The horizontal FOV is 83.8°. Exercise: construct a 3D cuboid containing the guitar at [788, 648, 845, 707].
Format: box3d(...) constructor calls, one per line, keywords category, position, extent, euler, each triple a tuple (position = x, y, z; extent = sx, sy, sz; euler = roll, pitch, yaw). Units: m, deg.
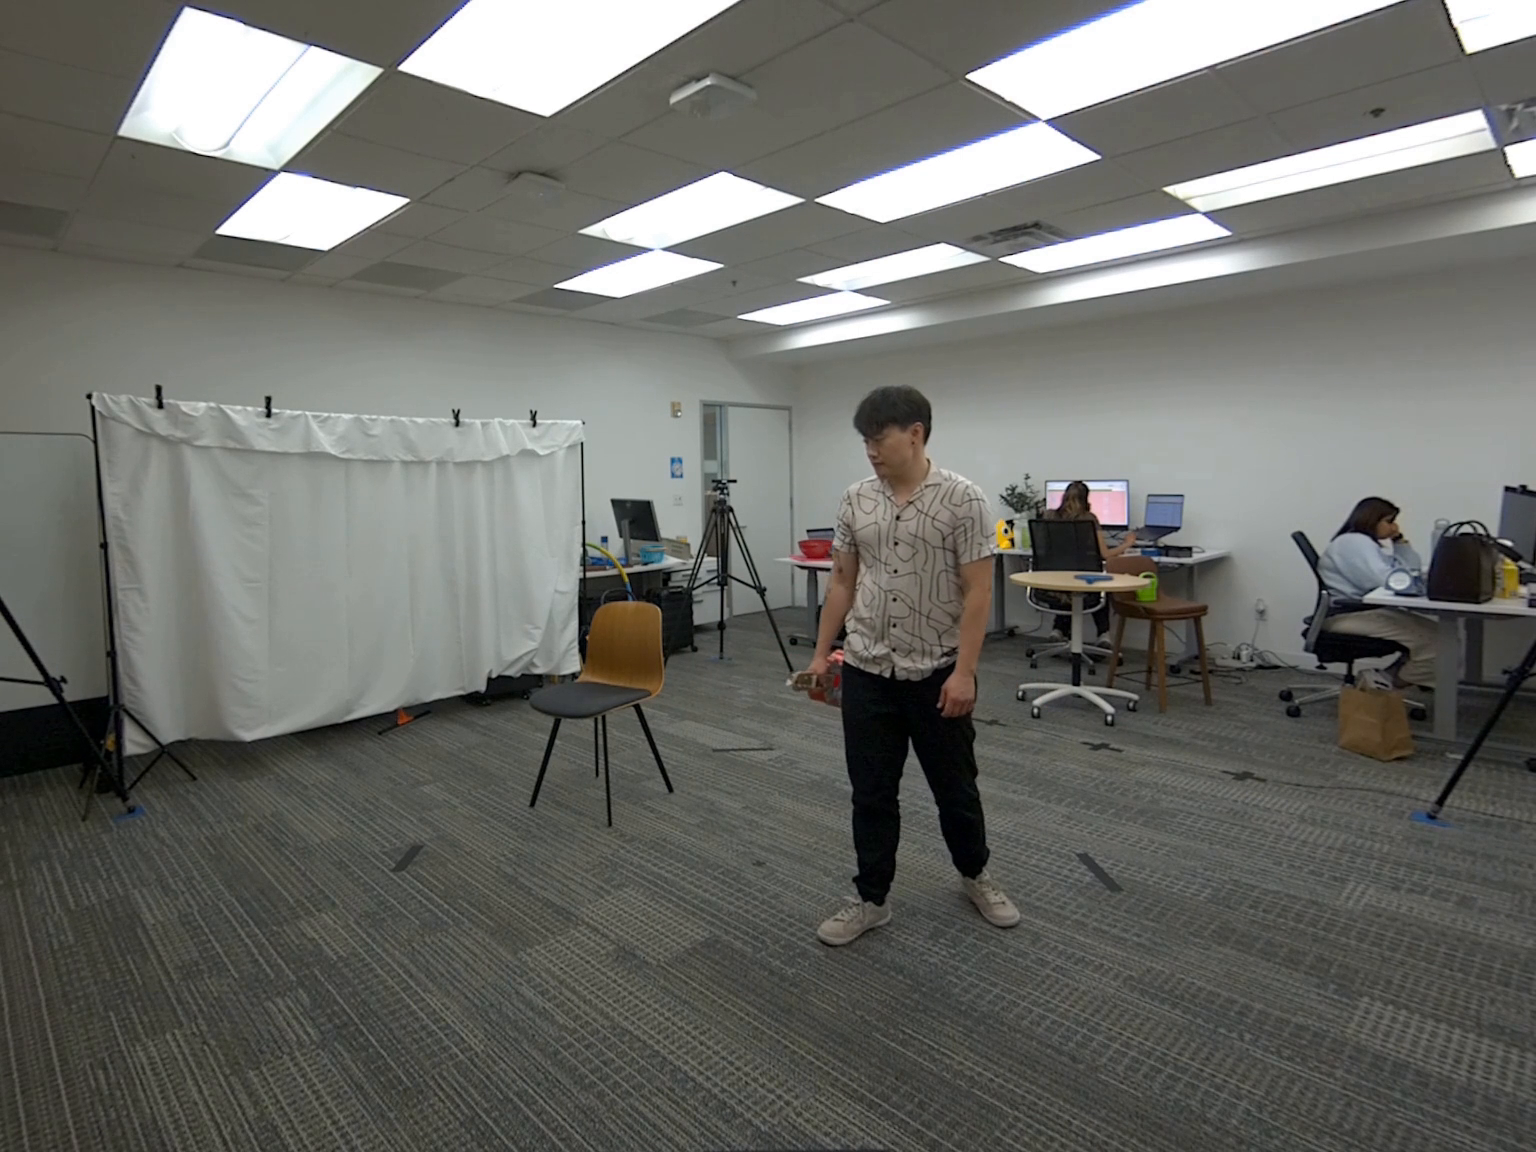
box3d(category="guitar", position=(0.180, 0.313, 2.781), extent=(0.073, 0.194, 0.481), euler=(10, -10, 29))
